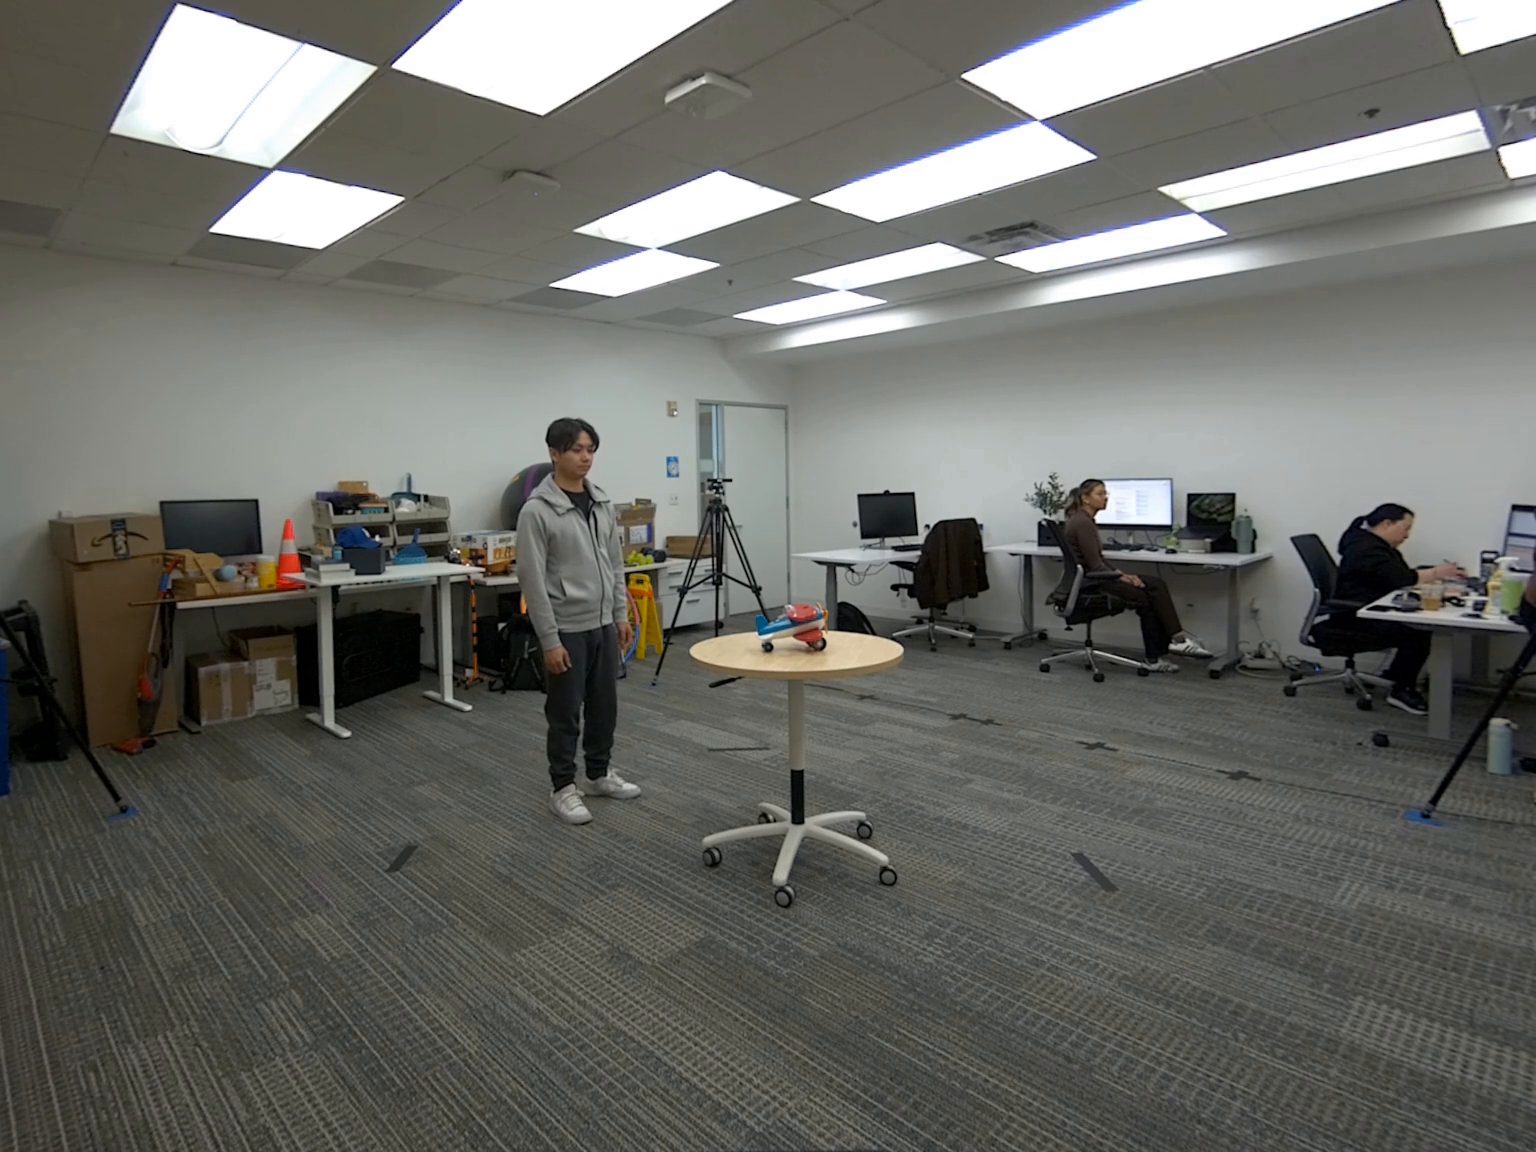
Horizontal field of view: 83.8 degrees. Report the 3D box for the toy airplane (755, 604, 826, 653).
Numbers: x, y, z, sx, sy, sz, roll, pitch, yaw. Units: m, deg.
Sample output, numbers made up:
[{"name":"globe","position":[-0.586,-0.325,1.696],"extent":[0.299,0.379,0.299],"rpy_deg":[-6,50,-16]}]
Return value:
[{"name":"toy airplane","position":[0.096,0.189,3.035],"extent":[0.252,0.156,0.259],"rpy_deg":[-5,8,-37]}]
